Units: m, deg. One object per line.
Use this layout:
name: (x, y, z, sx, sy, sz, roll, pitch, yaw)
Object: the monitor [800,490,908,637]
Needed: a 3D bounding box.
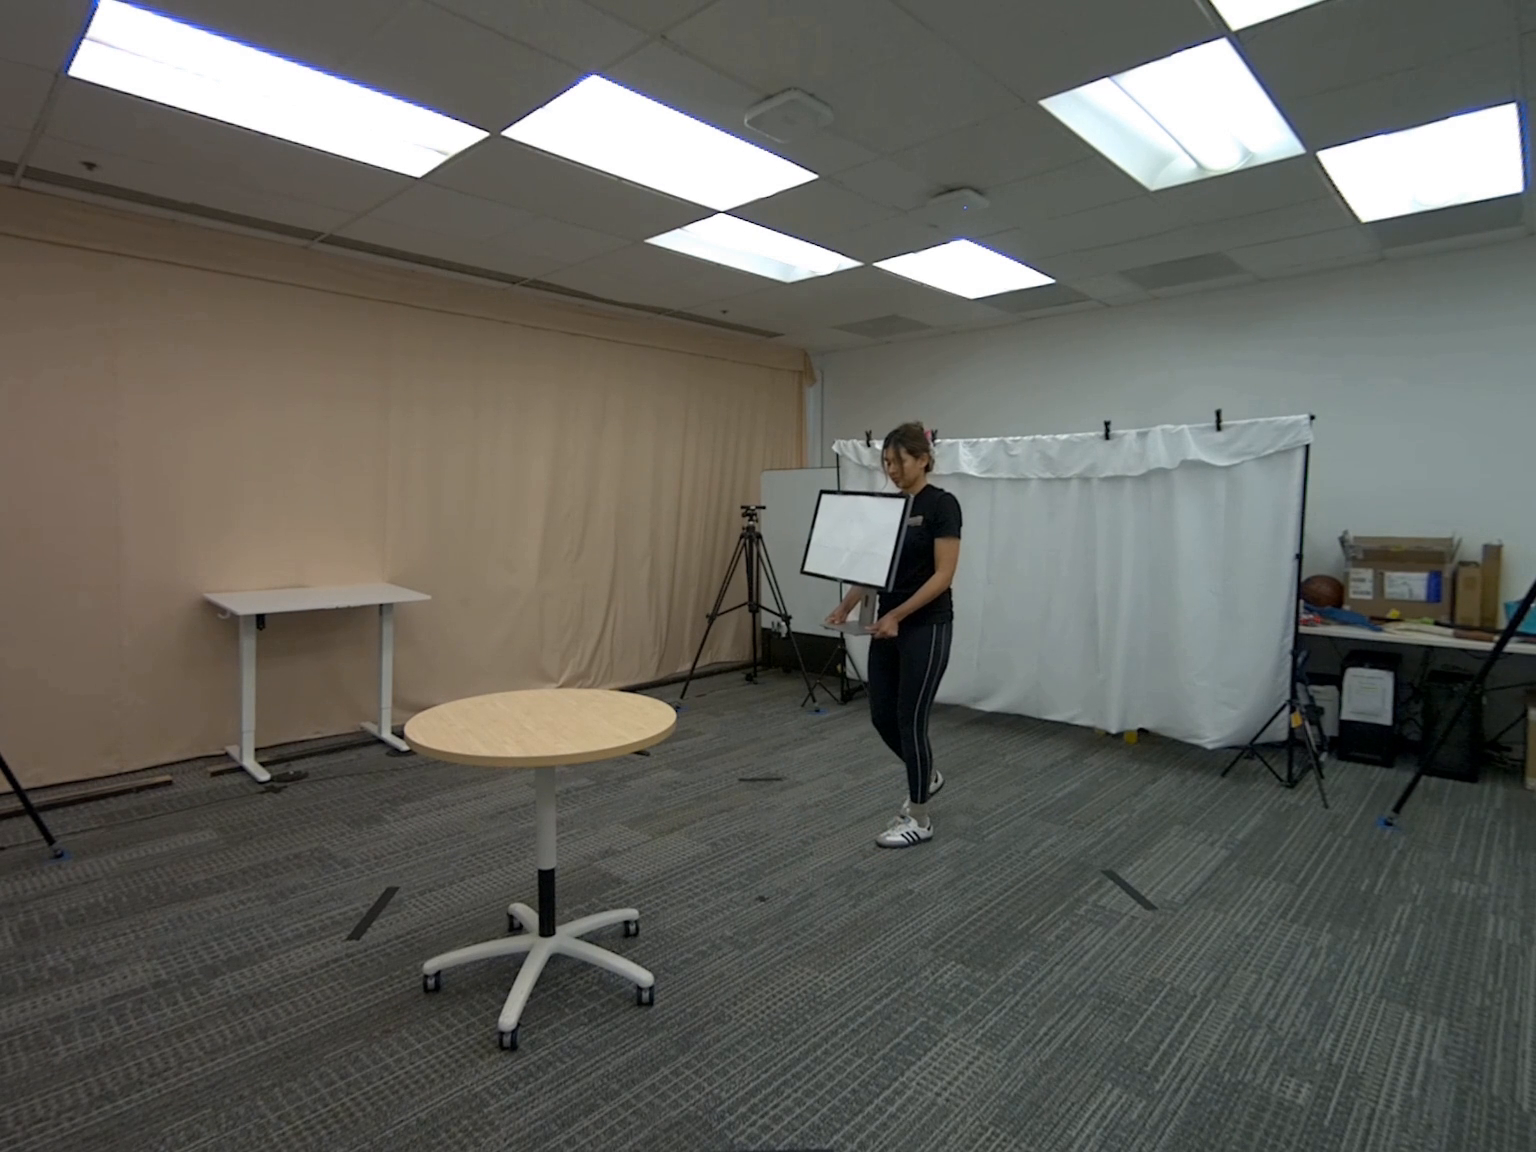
monitor: (0.360, -0.061, 3.299, 0.182, 0.521, 0.556, -2, 7, -33)
